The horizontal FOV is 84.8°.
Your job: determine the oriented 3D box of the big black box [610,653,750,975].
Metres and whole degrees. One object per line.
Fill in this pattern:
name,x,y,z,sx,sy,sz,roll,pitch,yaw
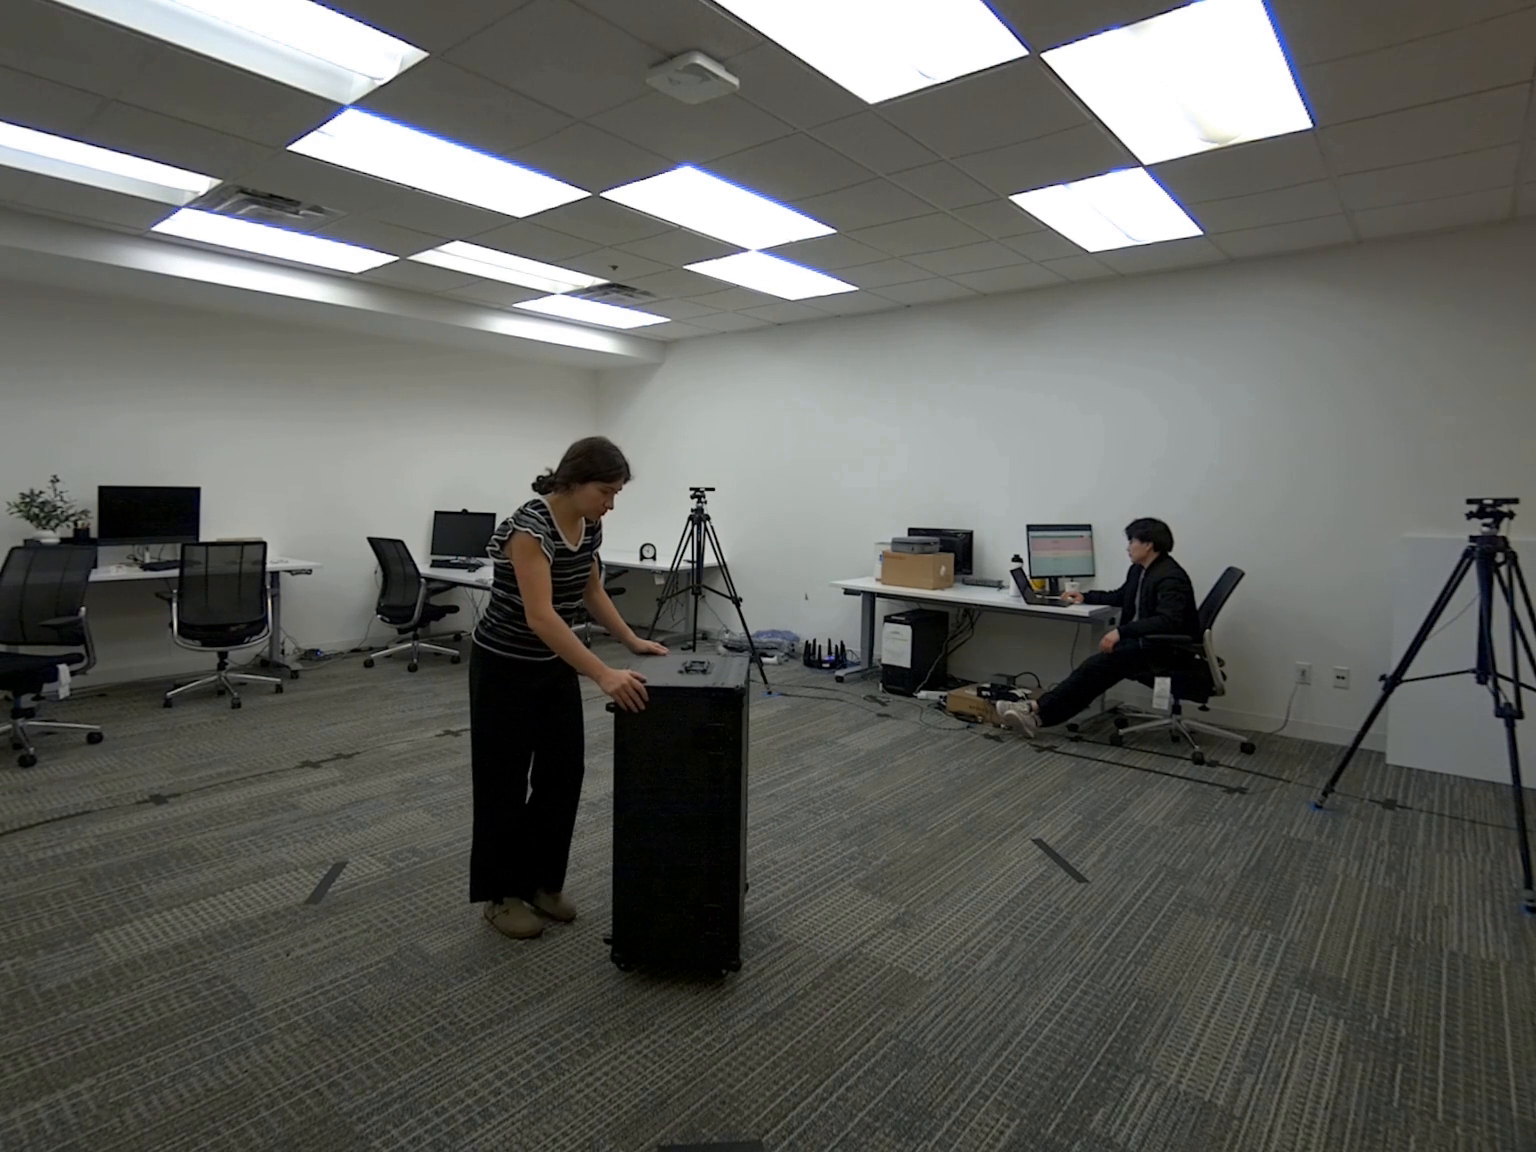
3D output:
big black box,-0.266,0.700,2.546,0.398,0.859,0.521,1,3,3
